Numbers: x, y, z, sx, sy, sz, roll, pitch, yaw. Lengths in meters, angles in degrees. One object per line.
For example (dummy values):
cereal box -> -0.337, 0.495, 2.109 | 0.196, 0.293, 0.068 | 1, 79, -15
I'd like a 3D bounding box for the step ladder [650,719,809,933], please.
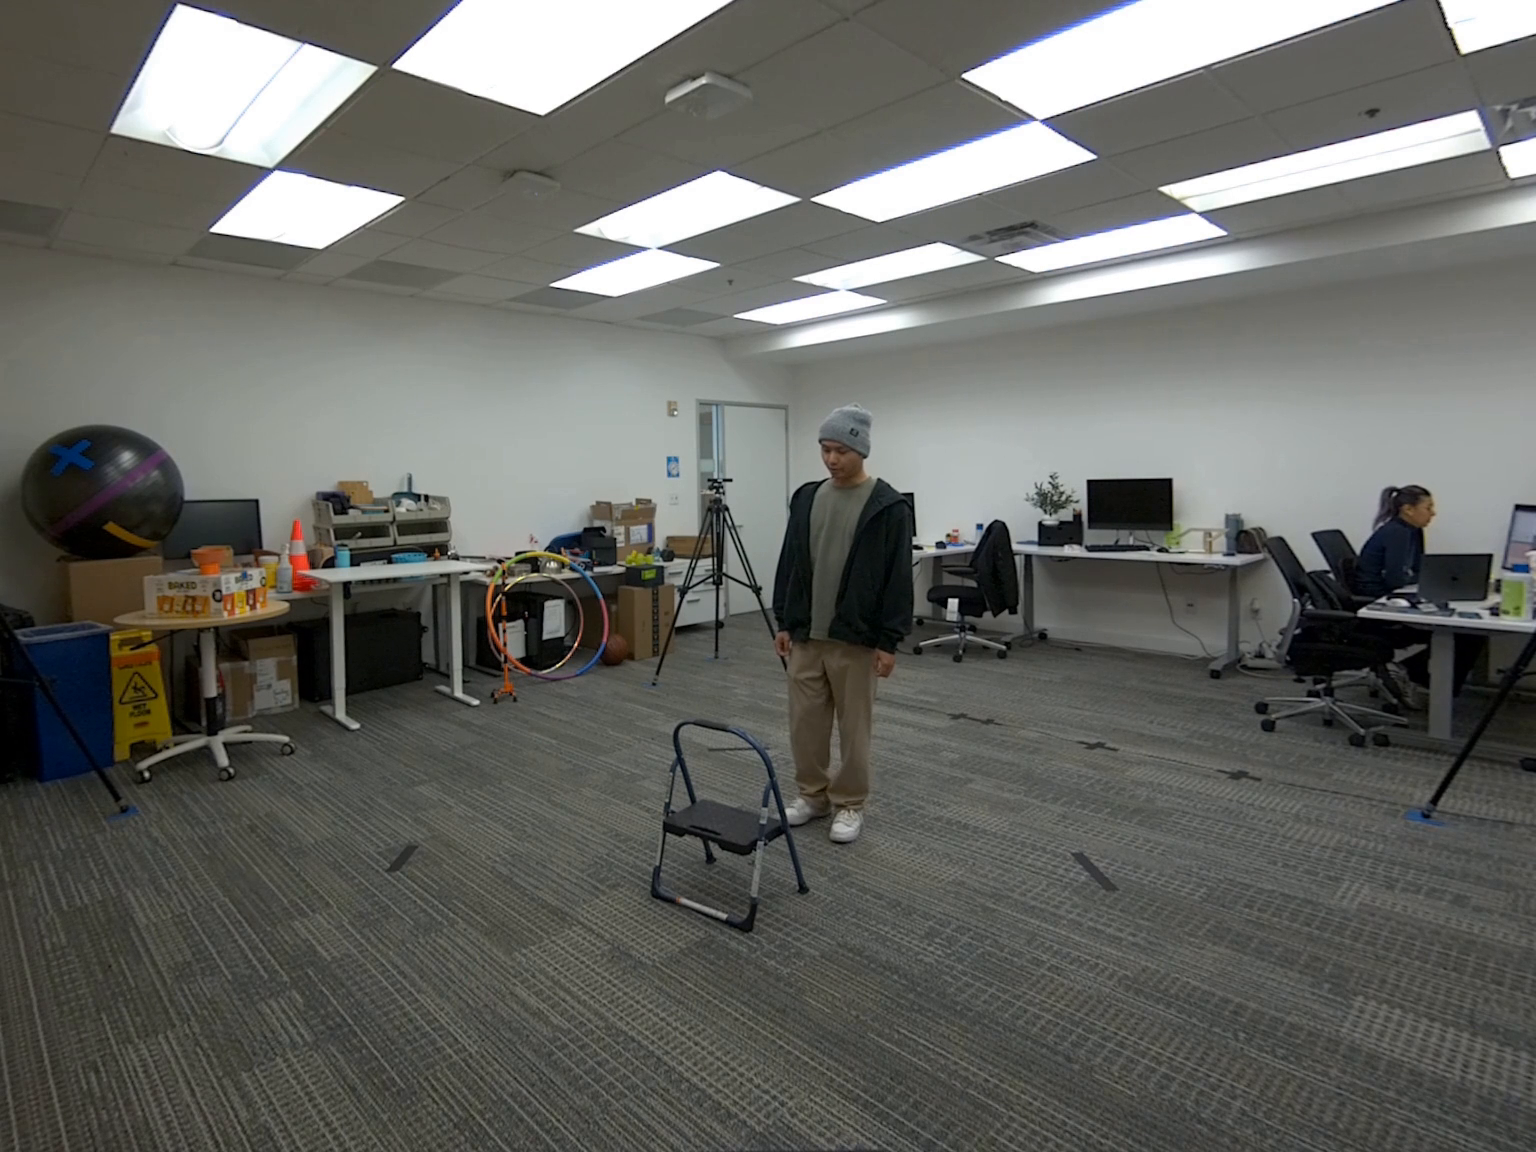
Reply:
step ladder -> -0.135, 0.770, 2.866 | 0.443, 0.604, 0.341 | 2, 5, 35
